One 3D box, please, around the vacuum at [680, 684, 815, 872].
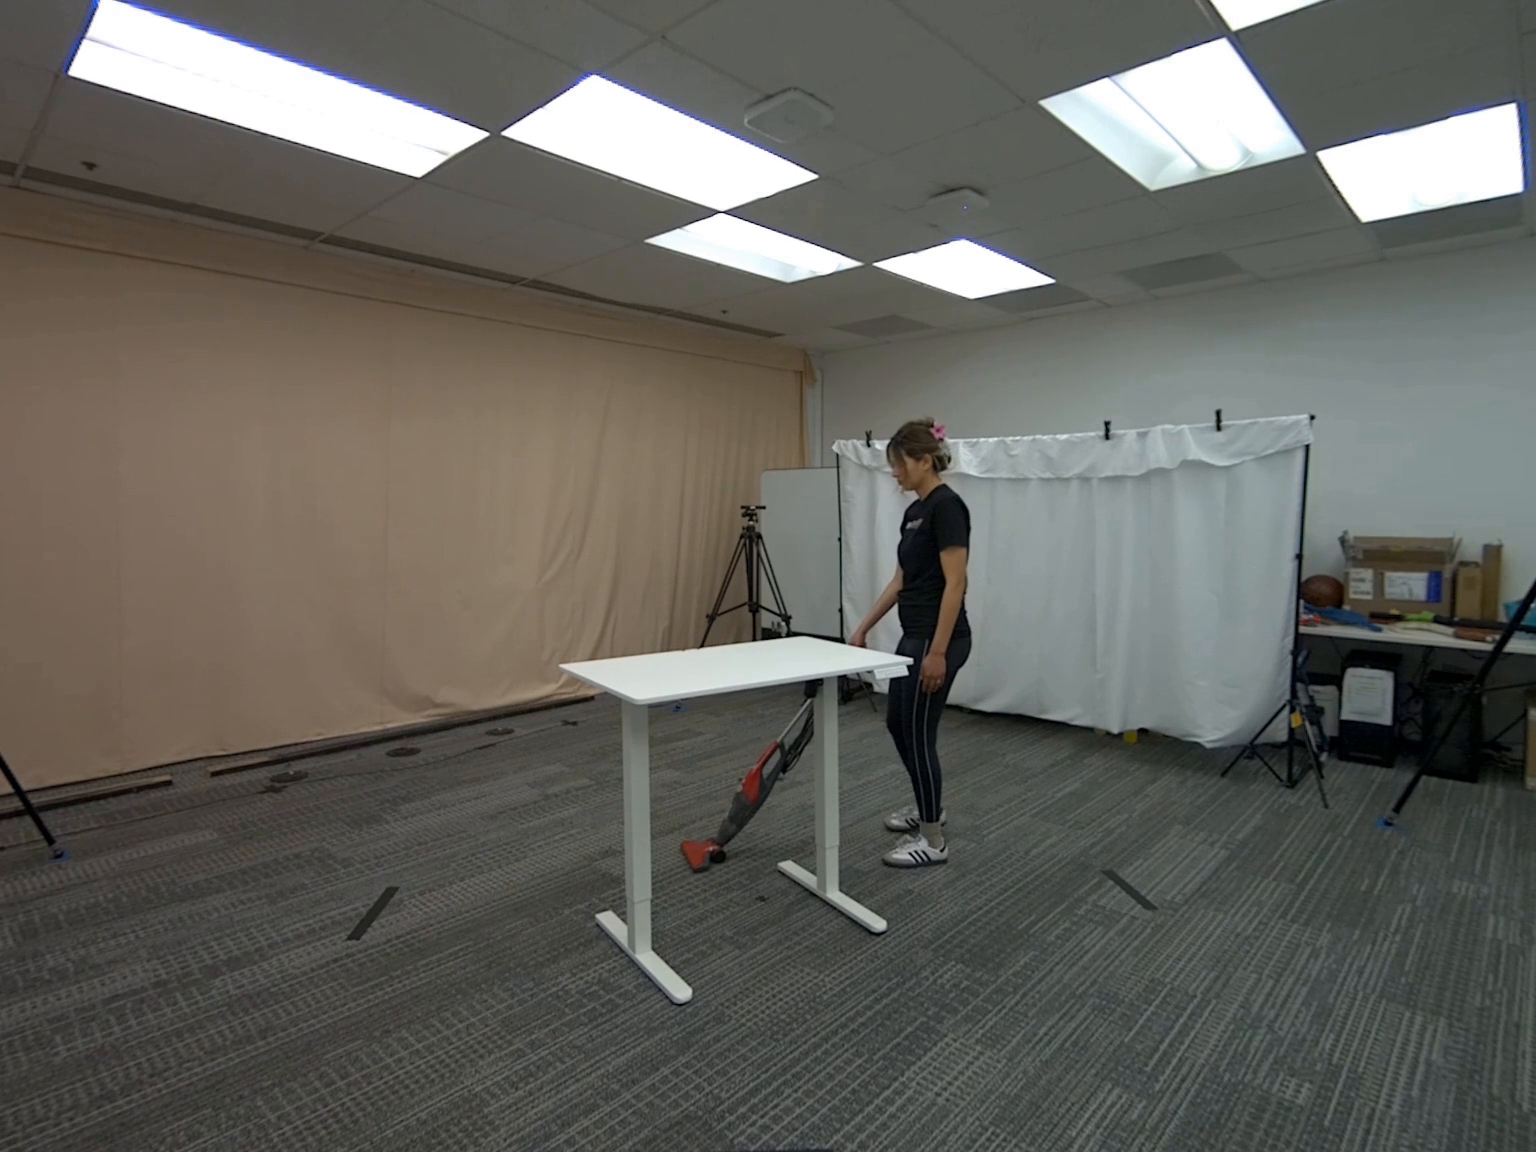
[{"bbox_3d":[0.067,0.706,3.397,0.142,1.047,0.256,40,-9,-12],"label":"vacuum"}]
